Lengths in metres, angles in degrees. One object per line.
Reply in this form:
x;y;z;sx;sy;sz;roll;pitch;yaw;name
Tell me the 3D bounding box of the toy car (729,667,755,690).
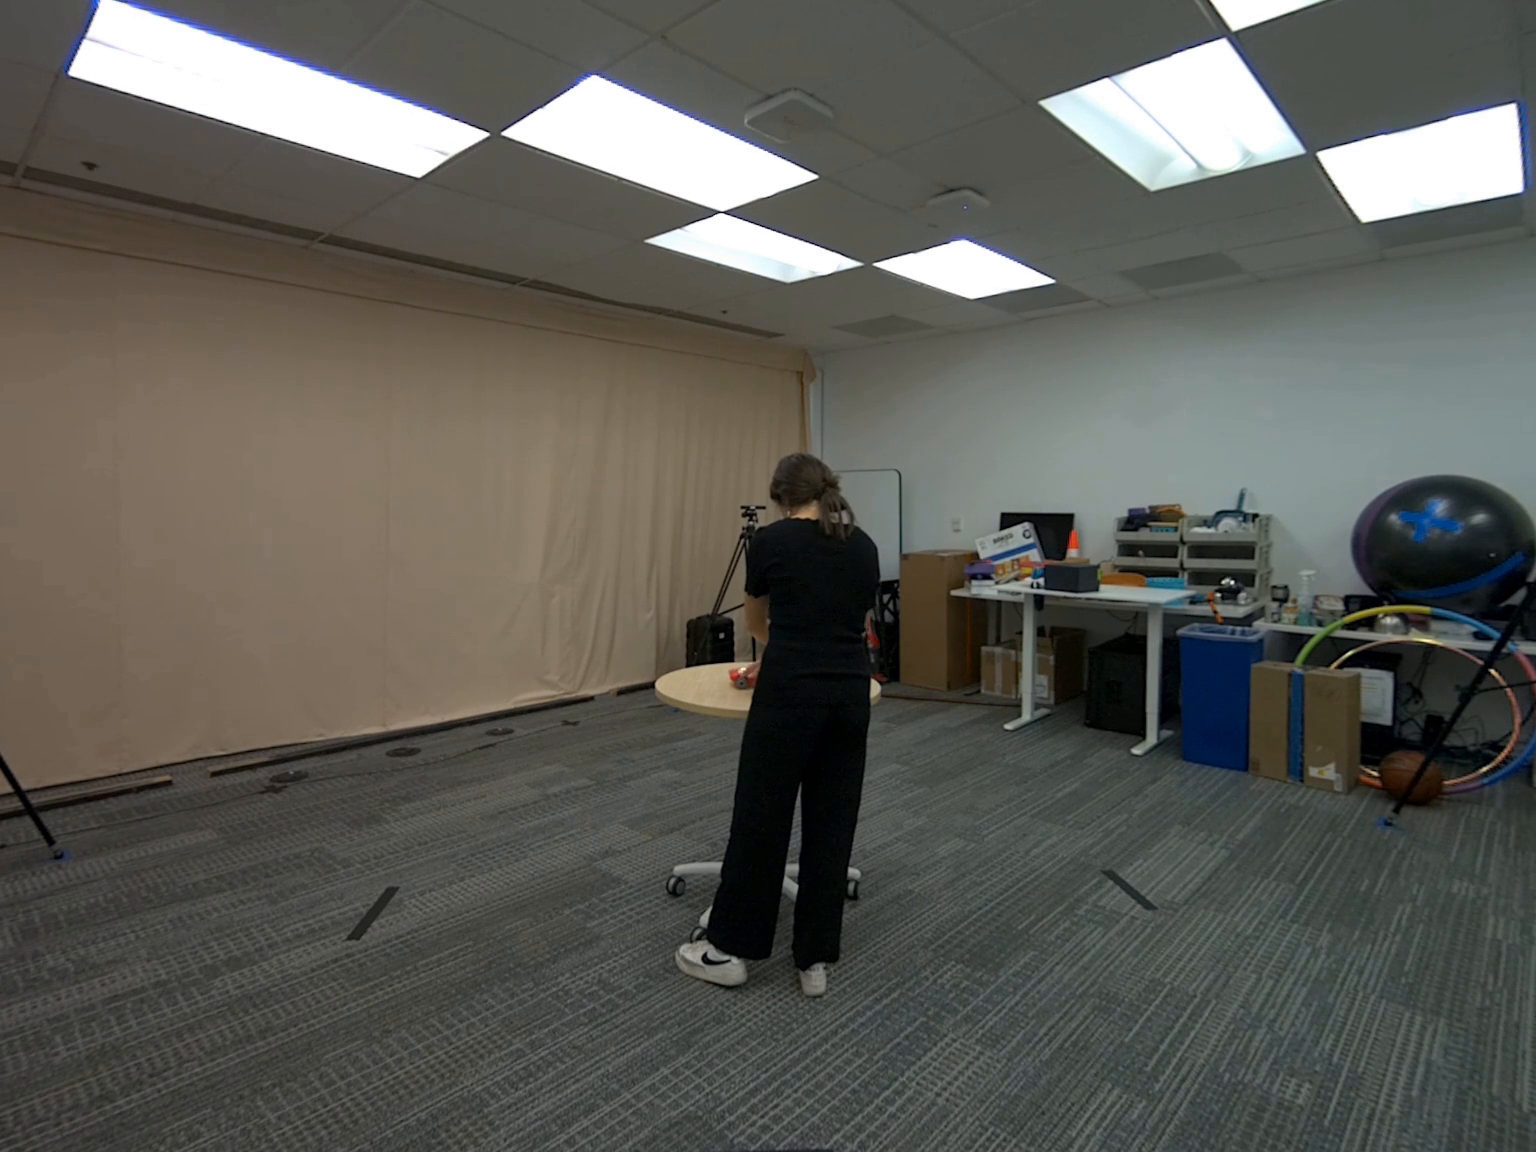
-0.001;0.339;2.849;0.253;0.083;0.132;-10;8;-5;toy car
